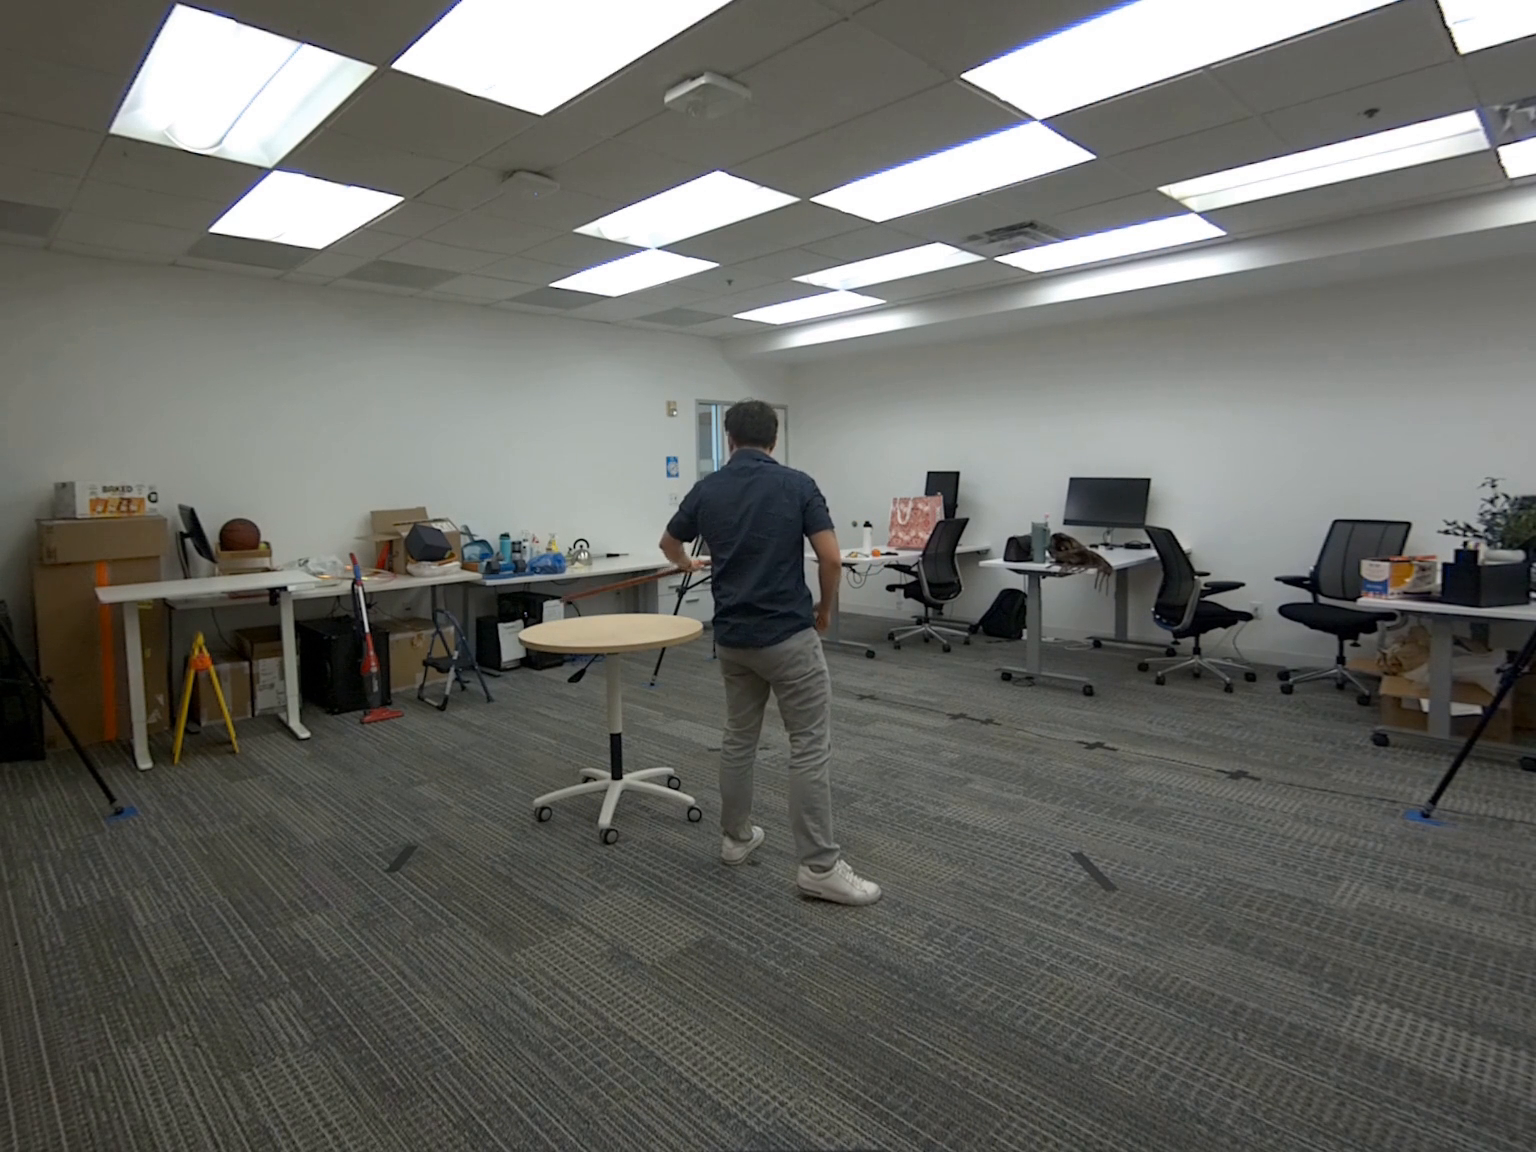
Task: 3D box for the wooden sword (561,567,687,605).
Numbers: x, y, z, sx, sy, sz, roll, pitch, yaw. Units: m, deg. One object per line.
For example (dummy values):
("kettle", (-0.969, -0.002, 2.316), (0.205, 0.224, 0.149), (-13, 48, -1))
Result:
("wooden sword", (-0.338, -0.022, 3.459), (1.007, 0.050, 0.025), (-14, 34, -25))
